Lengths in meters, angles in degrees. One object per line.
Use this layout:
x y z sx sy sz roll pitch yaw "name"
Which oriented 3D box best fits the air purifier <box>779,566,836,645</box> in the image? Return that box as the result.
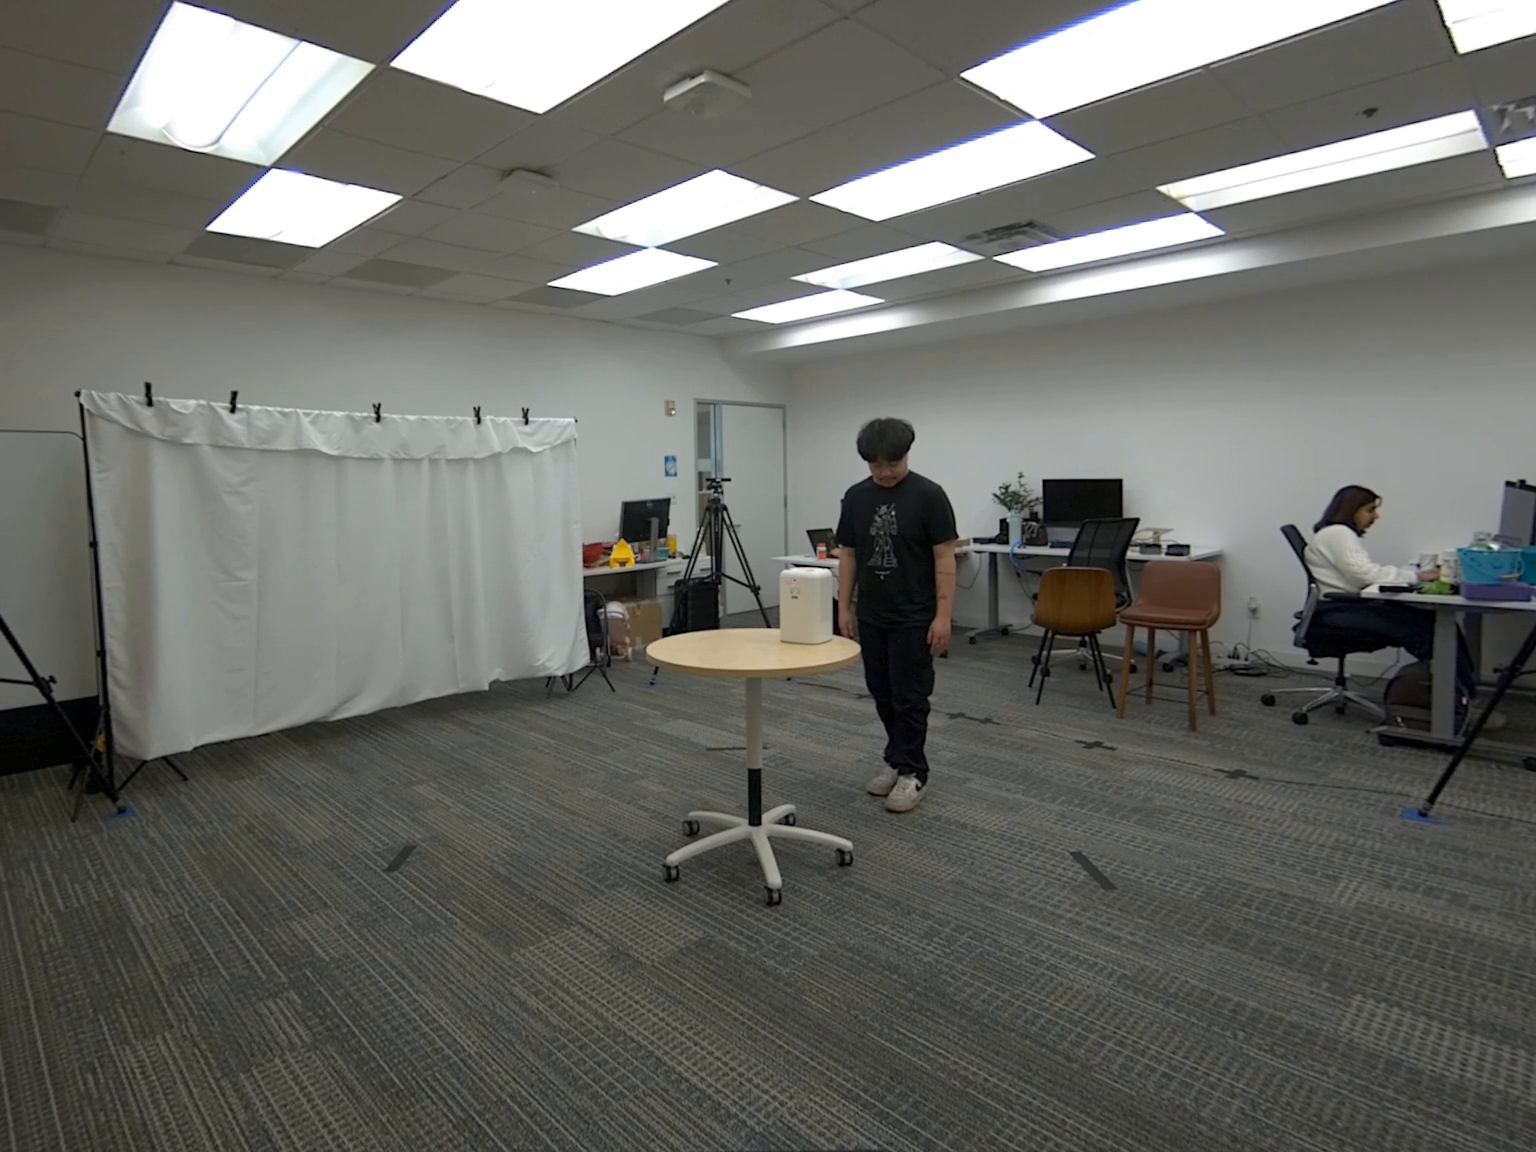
0.146 0.105 3.170 0.176 0.265 0.167 2 4 32 "air purifier"
